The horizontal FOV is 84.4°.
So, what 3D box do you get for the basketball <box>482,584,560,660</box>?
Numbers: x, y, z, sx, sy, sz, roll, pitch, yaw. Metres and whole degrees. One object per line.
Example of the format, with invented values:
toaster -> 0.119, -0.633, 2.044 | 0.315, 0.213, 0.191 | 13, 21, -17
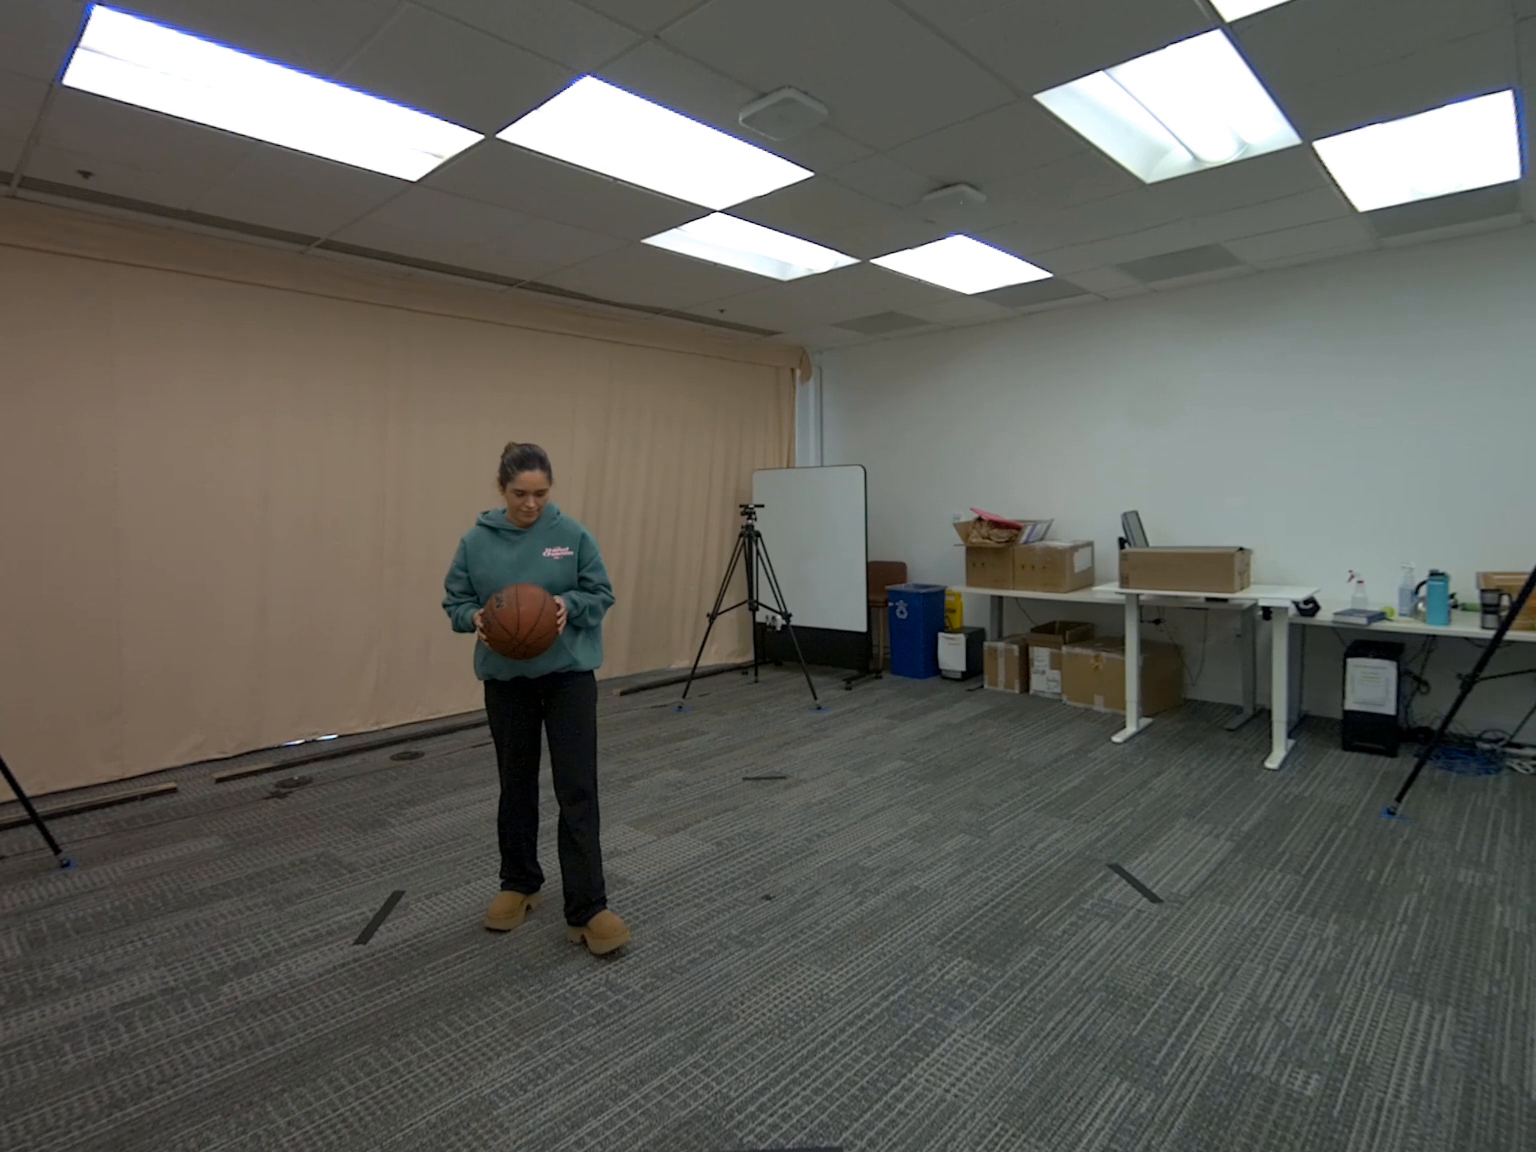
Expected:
basketball -> -0.757, 0.138, 2.585 | 0.236, 0.235, 0.237 | -1, 4, -2
